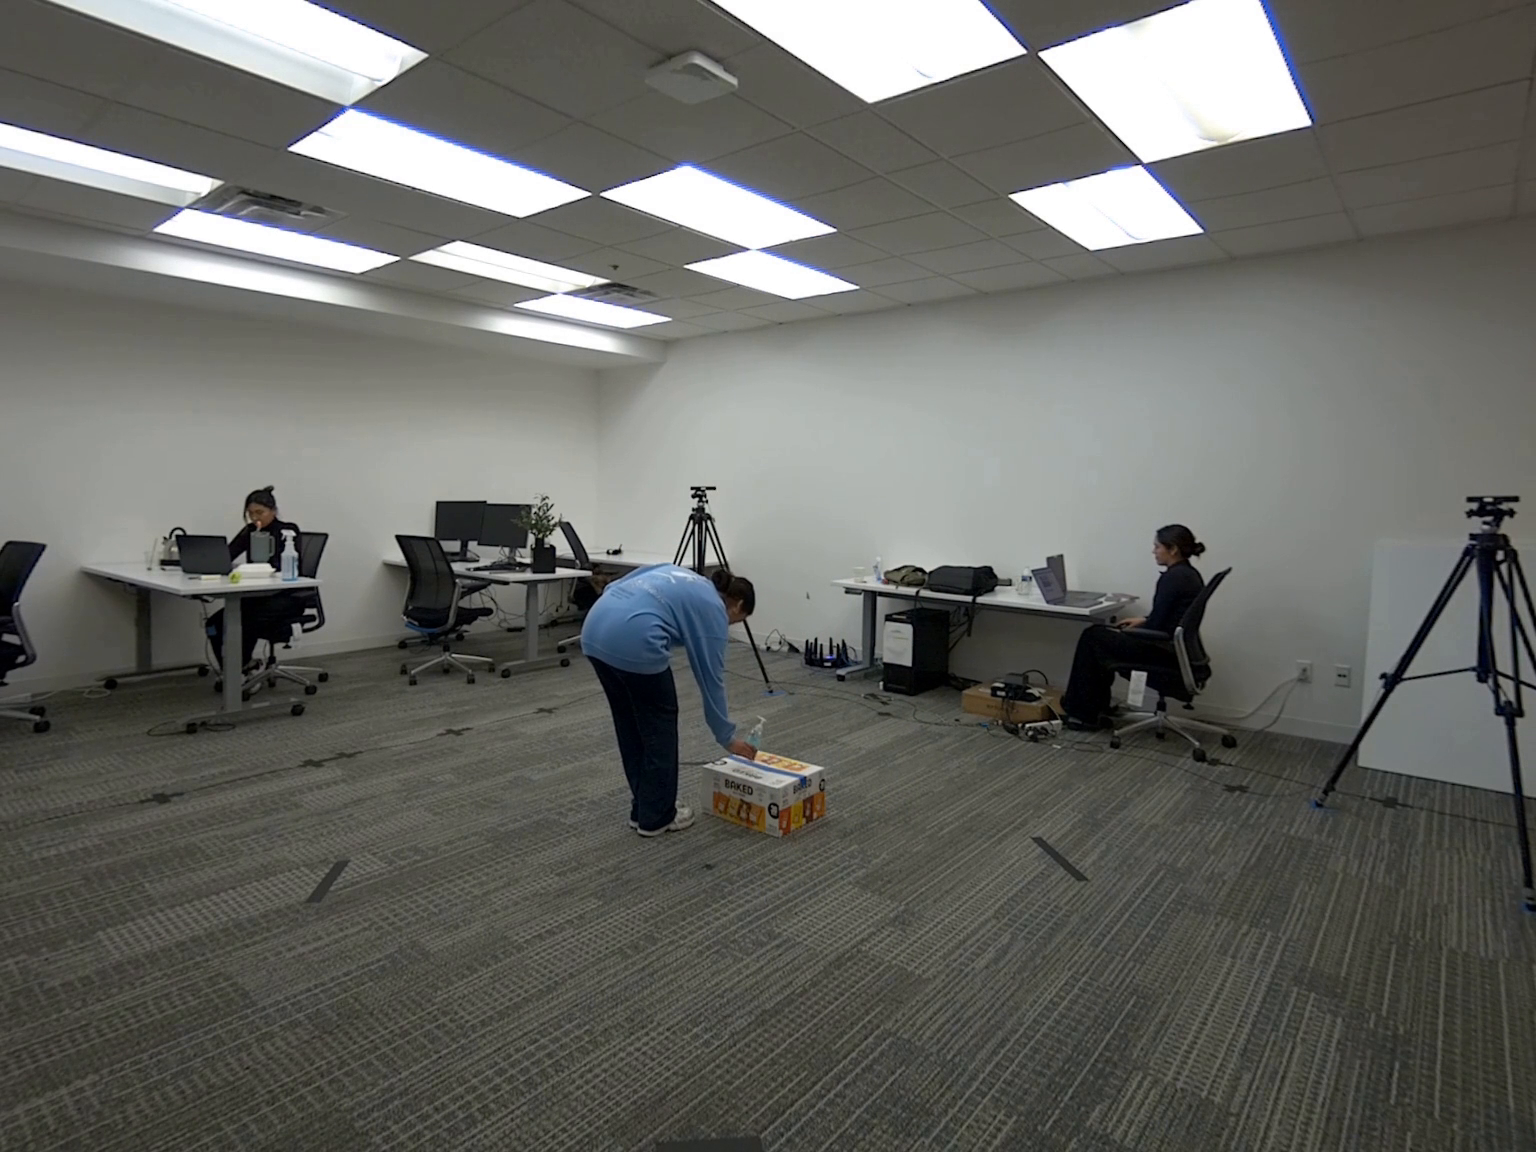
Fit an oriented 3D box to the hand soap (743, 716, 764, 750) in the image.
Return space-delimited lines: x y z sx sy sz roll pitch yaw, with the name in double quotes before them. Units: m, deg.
"hand soap" -0.068 0.685 3.645 0.088 0.168 0.042 22 -6 31
